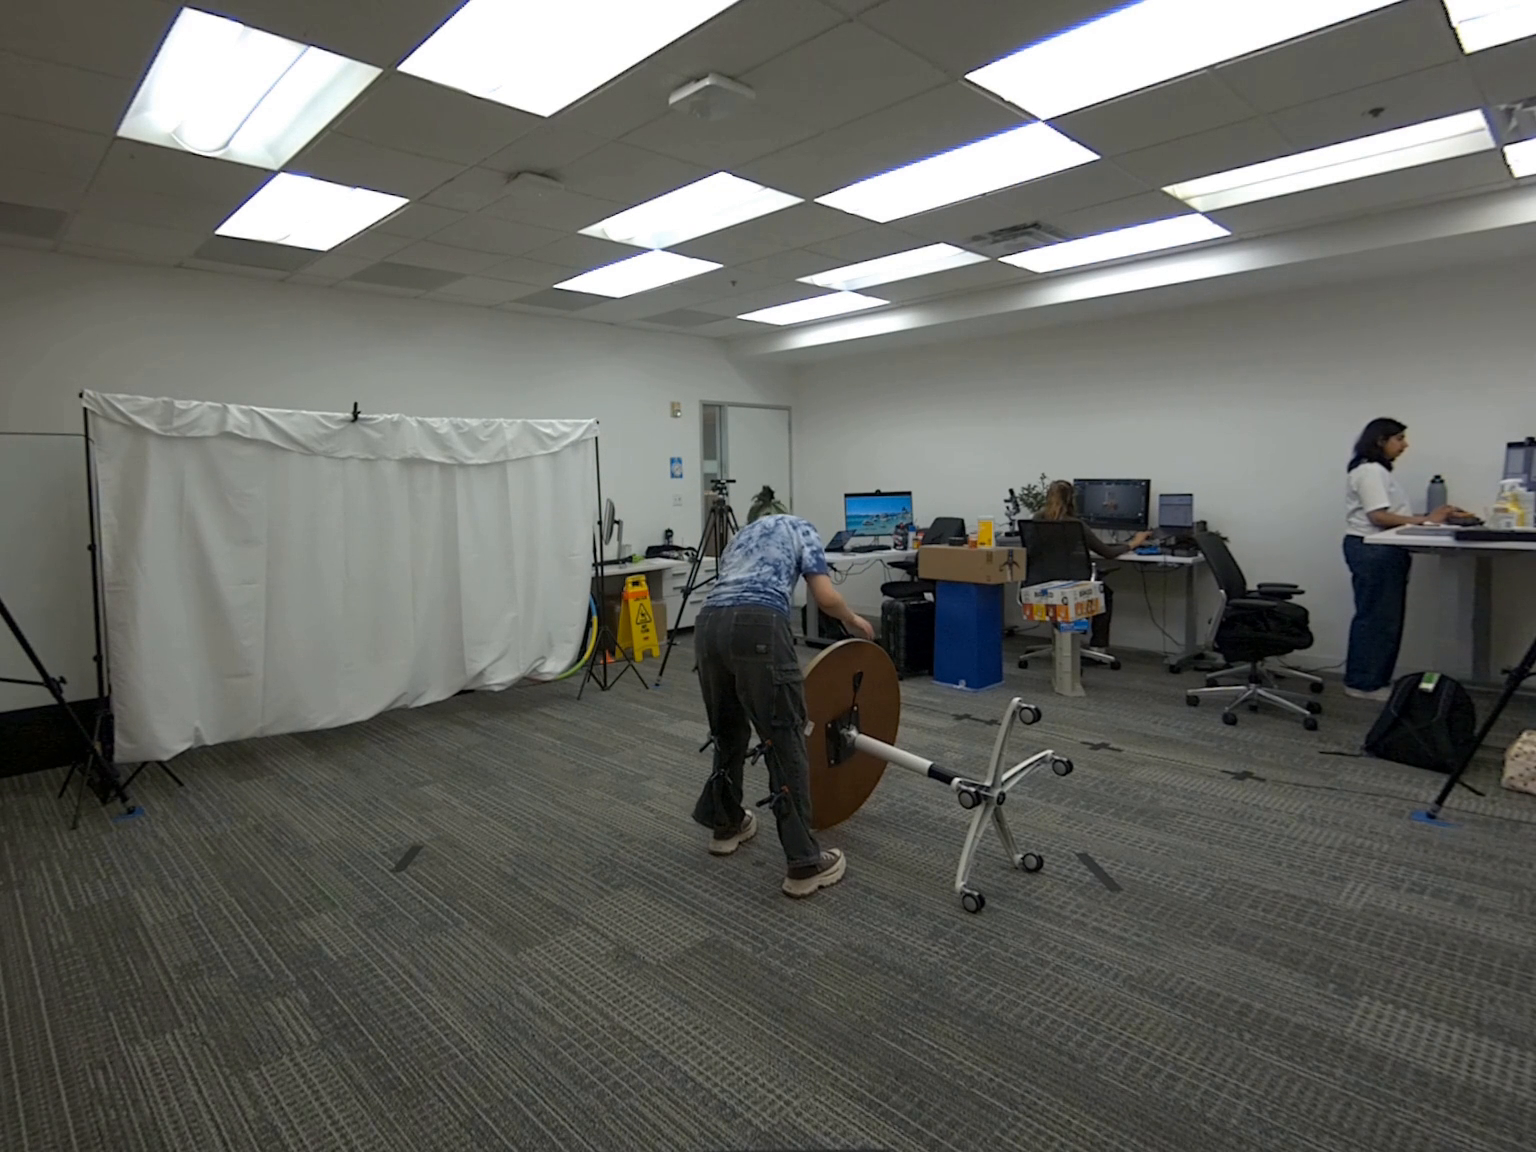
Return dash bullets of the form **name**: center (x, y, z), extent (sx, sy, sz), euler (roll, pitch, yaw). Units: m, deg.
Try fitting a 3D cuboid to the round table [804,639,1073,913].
- **round table**: center (0.562, 0.692, 3.119), extent (0.744, 0.758, 0.821), euler (-5, 13, -44)
